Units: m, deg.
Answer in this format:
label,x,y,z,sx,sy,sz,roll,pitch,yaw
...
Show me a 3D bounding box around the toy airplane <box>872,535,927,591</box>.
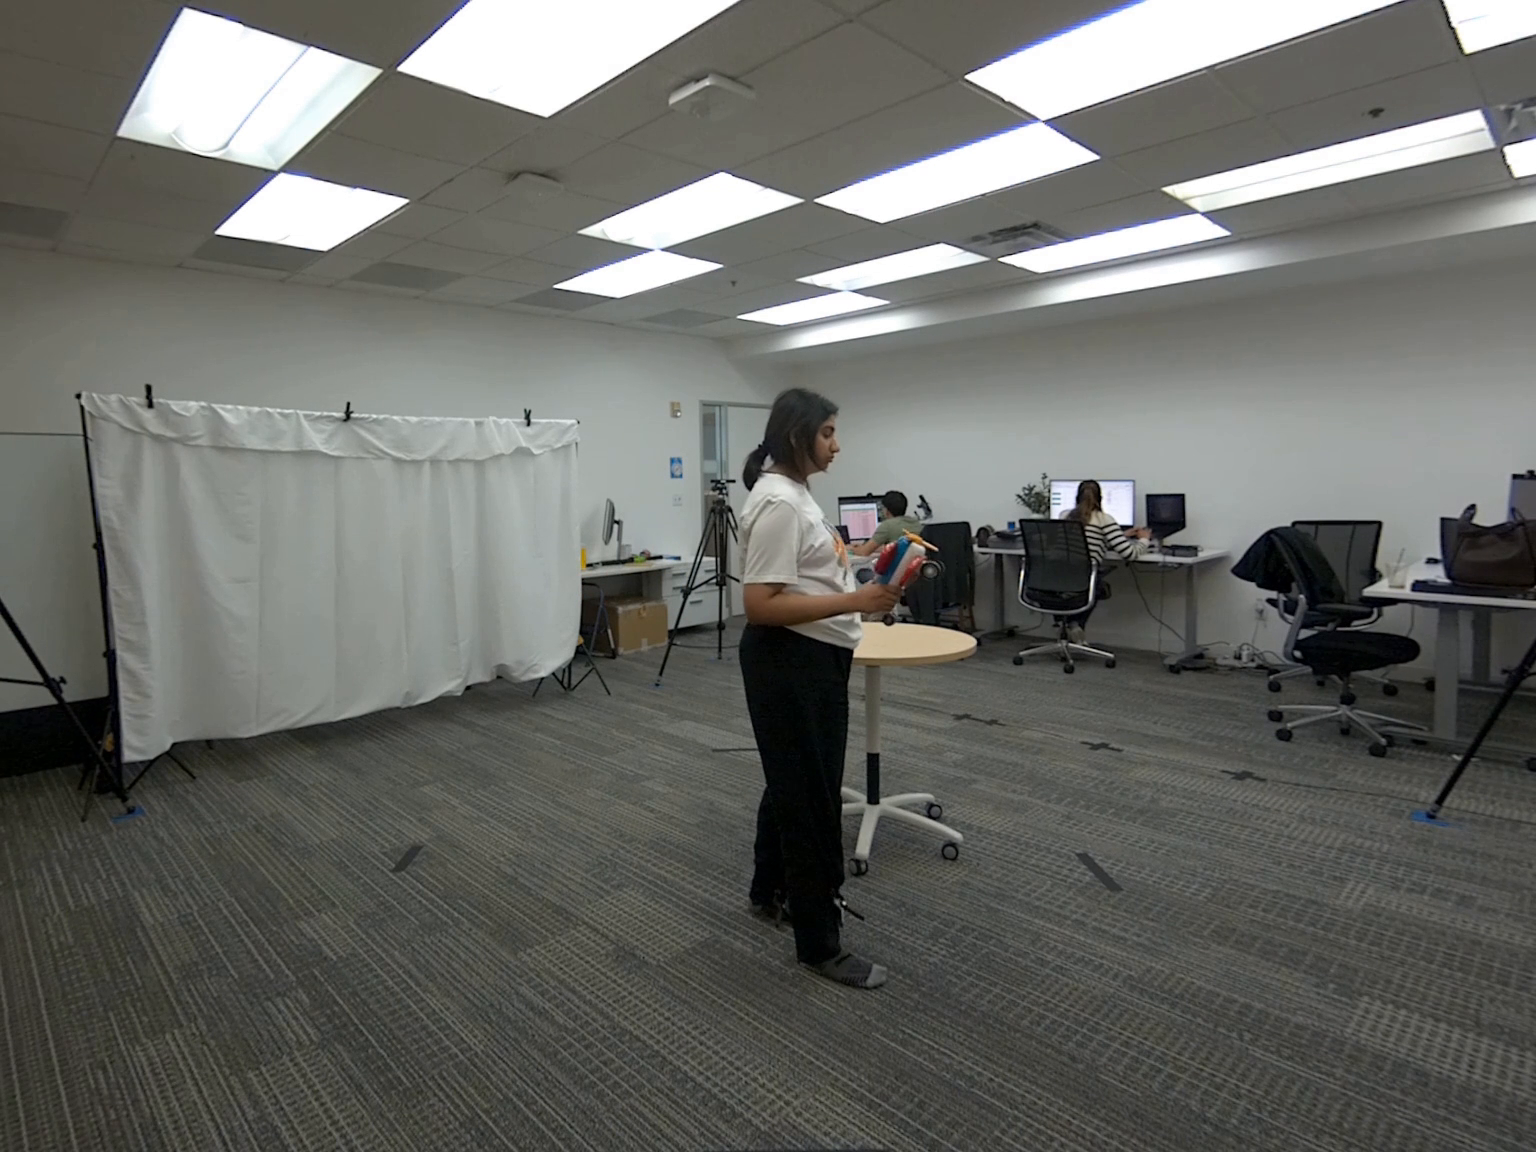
label,x,y,z,sx,sy,sz,roll,pitch,yaw
toy airplane,0.338,0.013,2.318,0.259,0.159,0.247,-43,-10,-13
